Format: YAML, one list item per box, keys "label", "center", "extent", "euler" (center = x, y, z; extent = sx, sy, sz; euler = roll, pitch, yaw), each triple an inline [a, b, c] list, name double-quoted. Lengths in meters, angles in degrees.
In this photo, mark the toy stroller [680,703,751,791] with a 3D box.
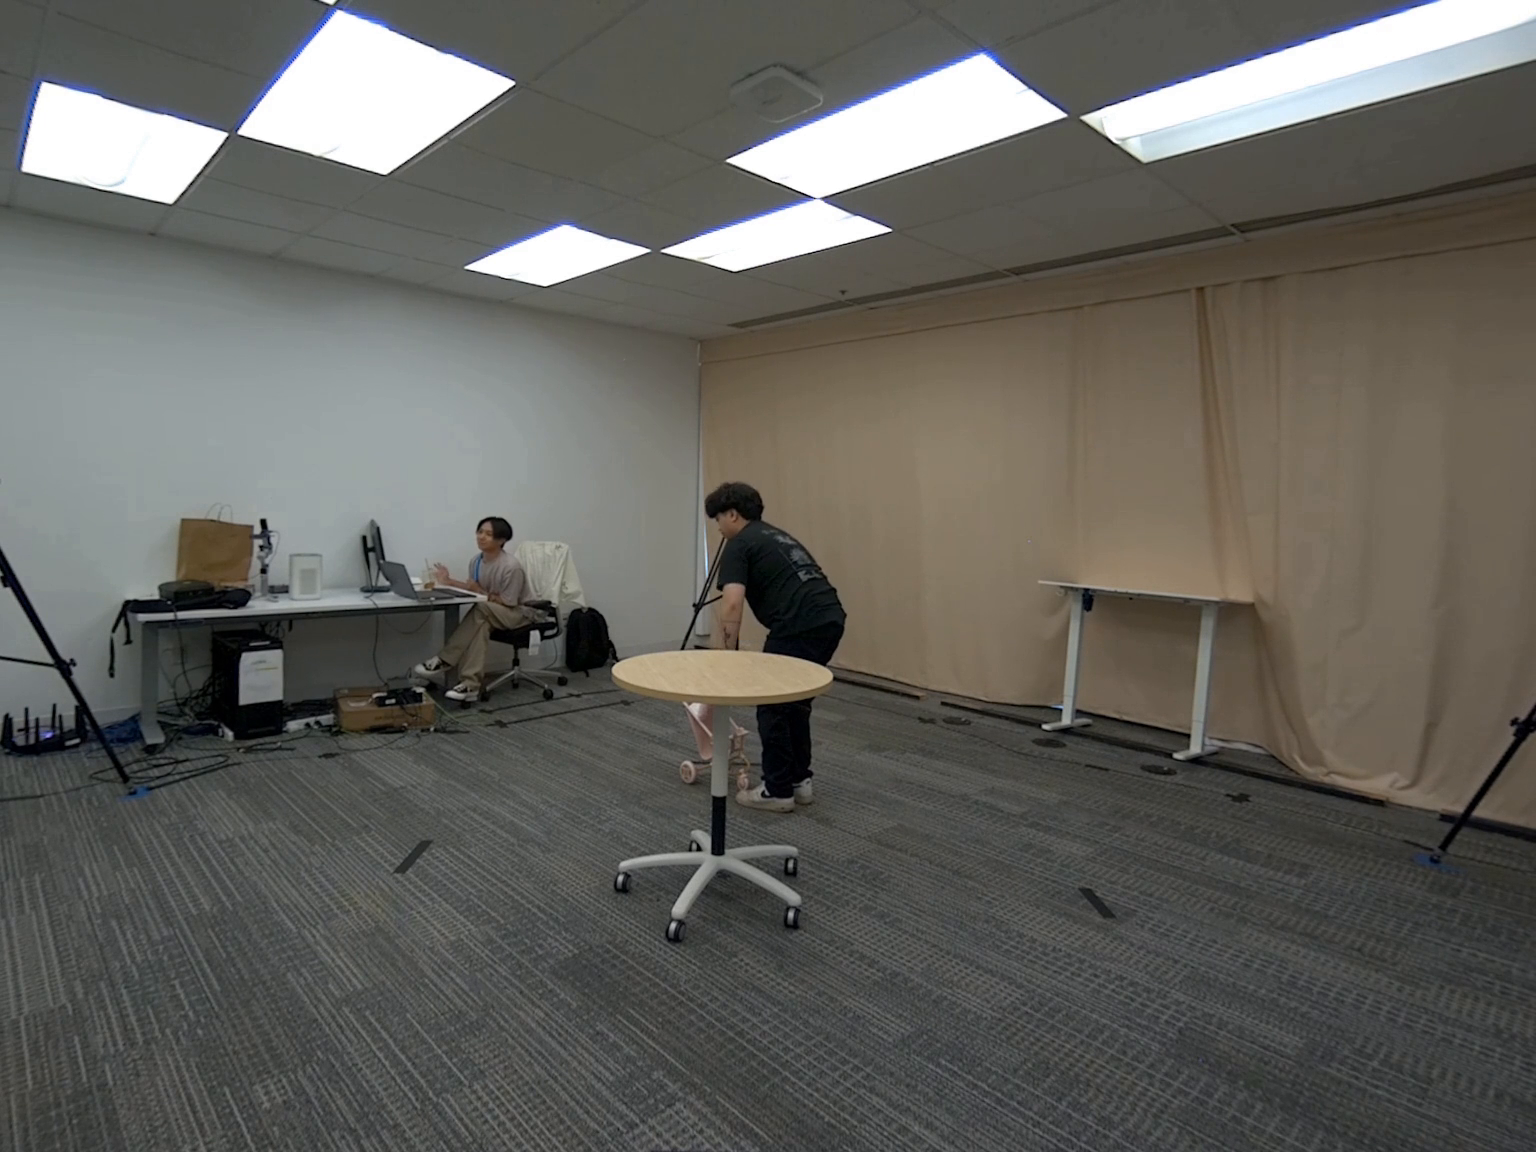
- label: "toy stroller"
  center: [-0.268, 0.791, 4.161]
  extent: [0.275, 0.539, 0.347]
  euler: [1, -12, -44]
